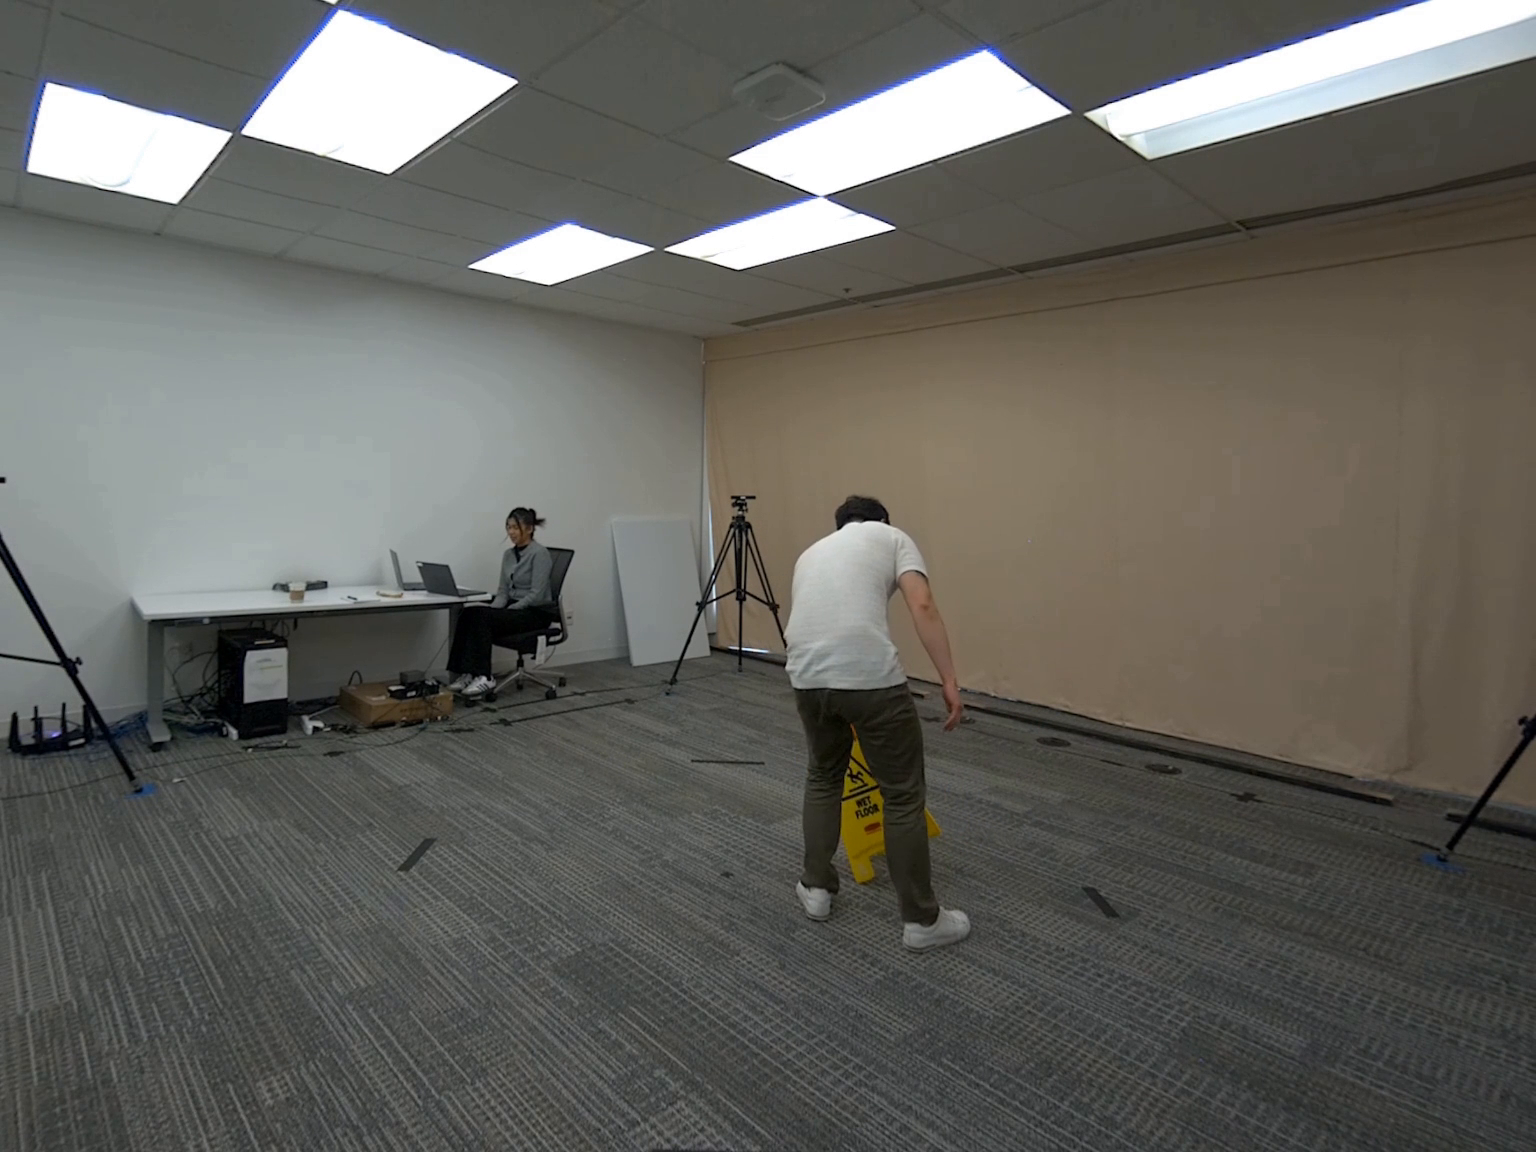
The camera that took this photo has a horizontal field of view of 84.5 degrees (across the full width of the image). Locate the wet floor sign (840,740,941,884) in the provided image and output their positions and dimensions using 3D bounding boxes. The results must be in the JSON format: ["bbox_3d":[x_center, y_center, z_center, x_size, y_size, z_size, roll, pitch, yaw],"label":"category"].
[{"bbox_3d":[0.356,0.765,3.194,0.284,0.652,0.284,-27,-10,23],"label":"wet floor sign"}]
